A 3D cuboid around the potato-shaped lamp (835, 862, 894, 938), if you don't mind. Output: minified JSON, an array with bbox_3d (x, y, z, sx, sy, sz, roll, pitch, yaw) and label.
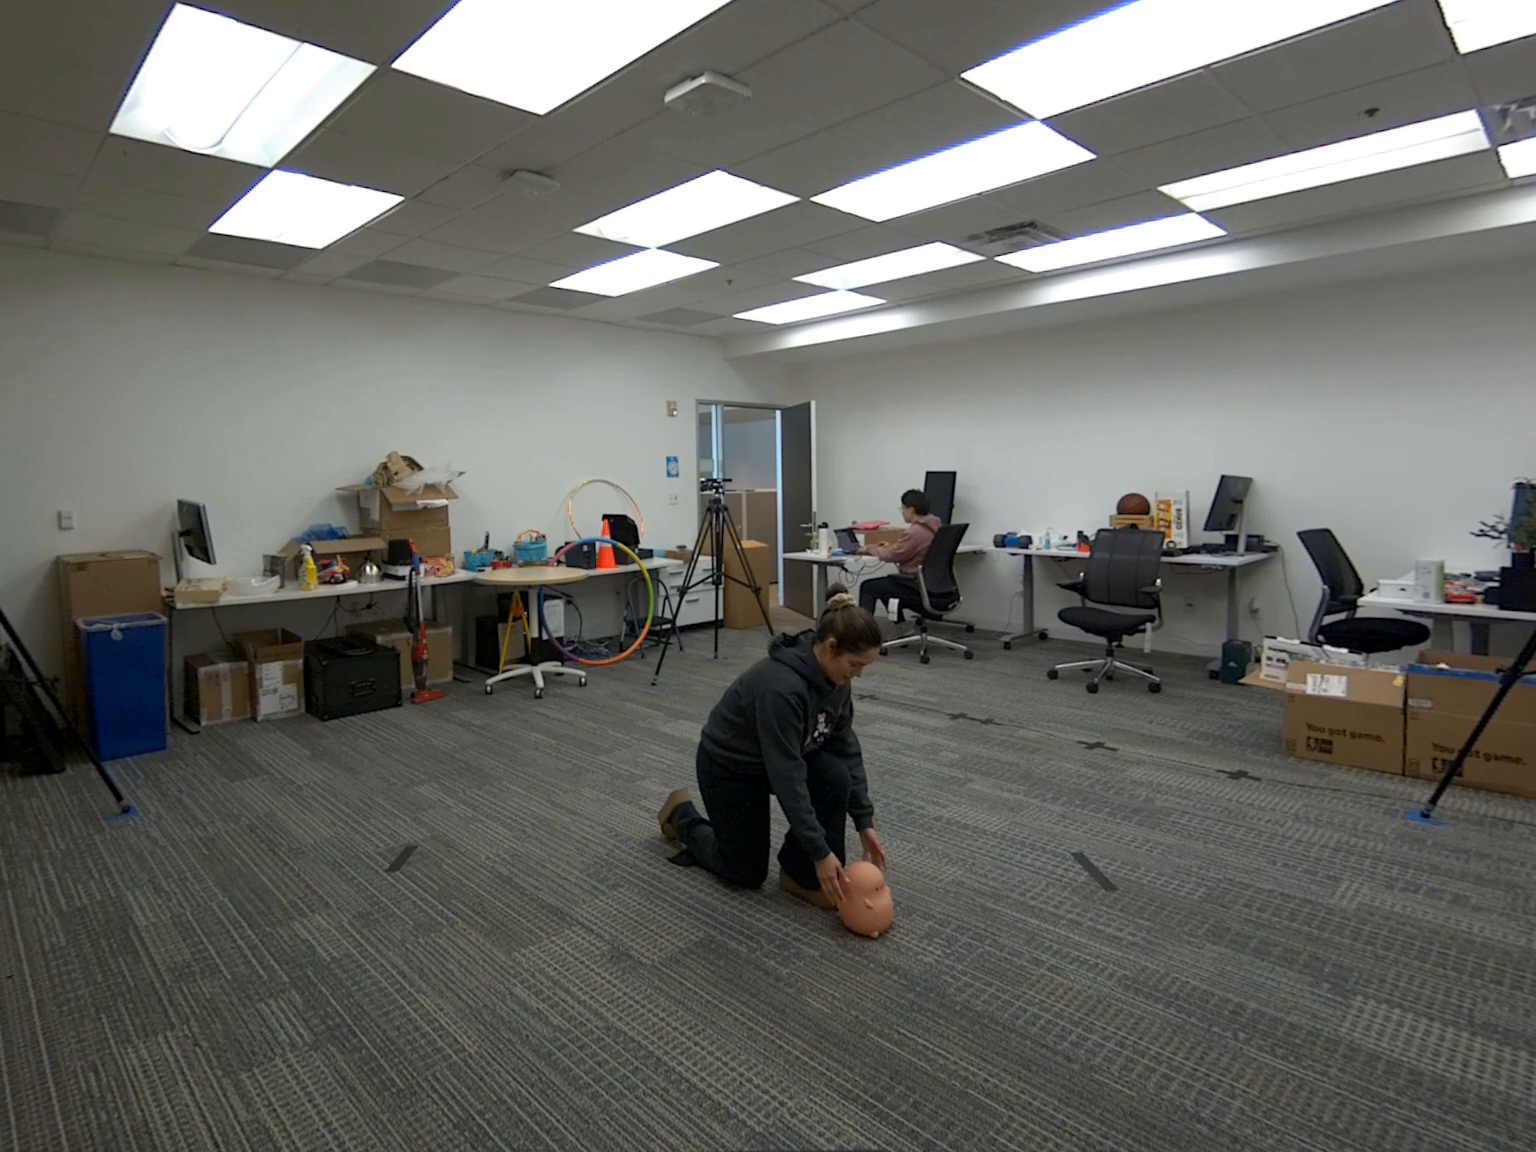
[{"bbox_3d":[0.294,0.988,2.640,0.176,0.198,0.161,-5,2,36],"label":"potato-shaped lamp"}]
